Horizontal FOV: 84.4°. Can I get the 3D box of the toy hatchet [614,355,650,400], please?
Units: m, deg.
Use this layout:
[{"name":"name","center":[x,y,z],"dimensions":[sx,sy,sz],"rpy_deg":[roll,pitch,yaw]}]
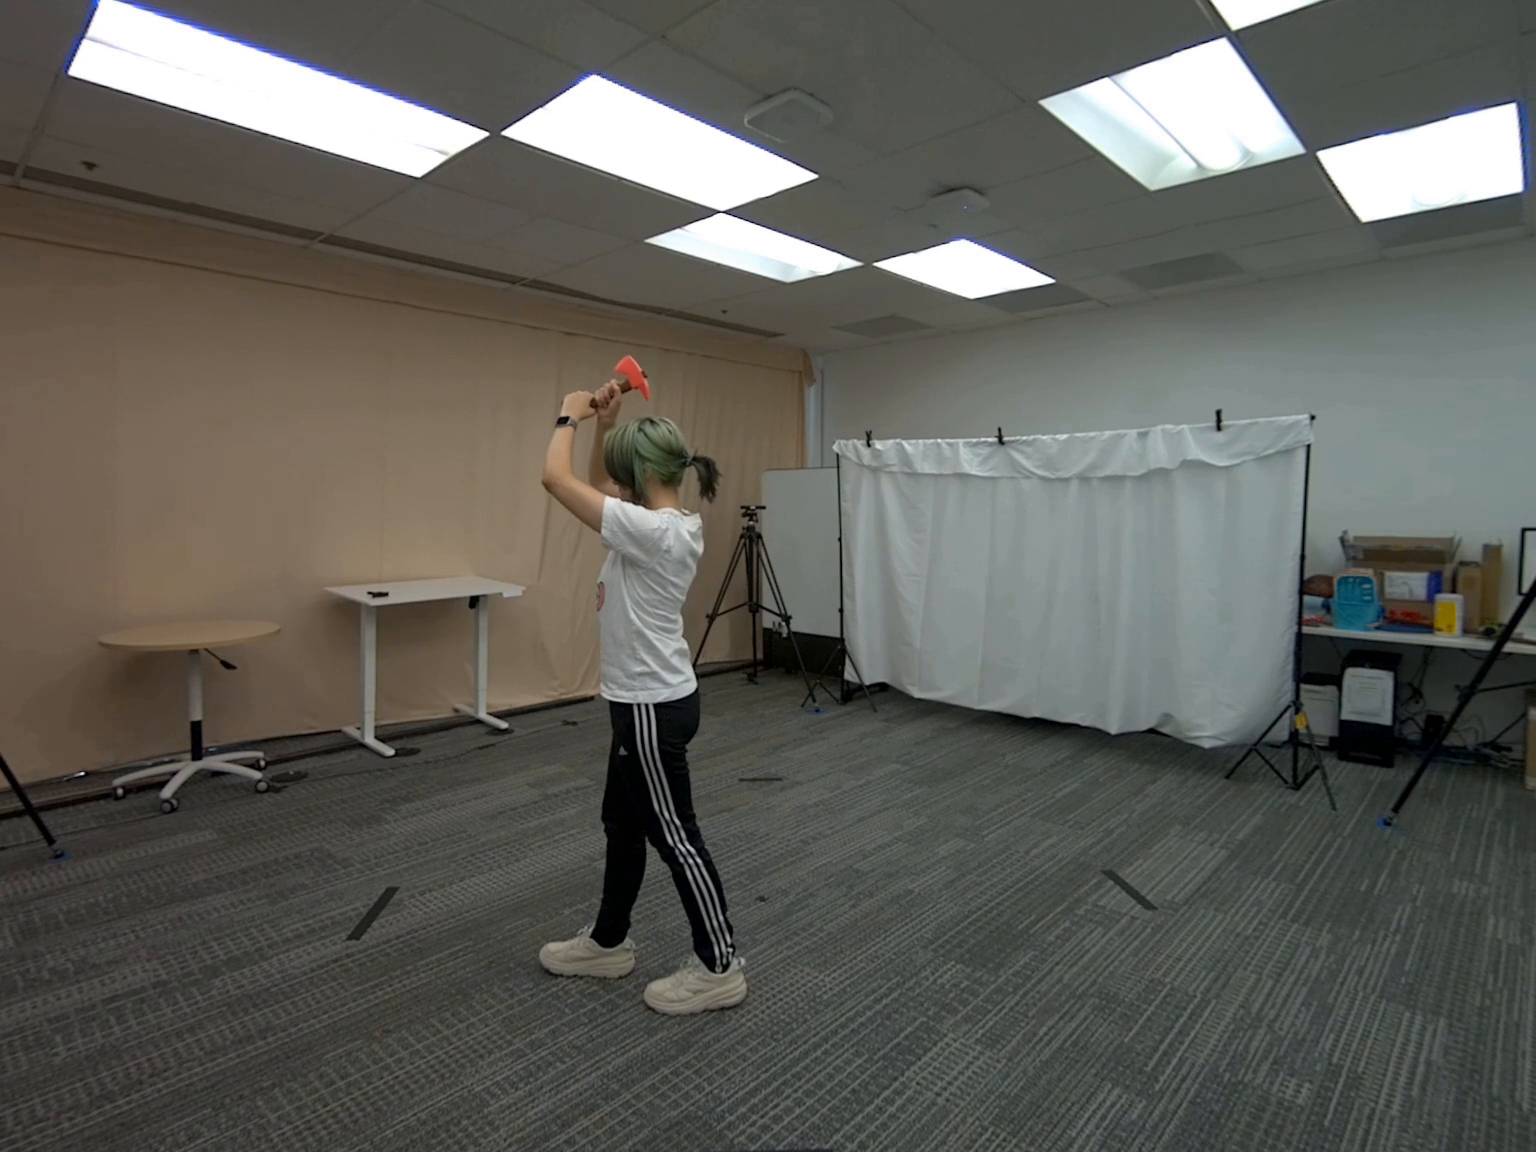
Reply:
[{"name":"toy hatchet","center":[-0.465,-0.543,2.343],"dimensions":[0.274,0.130,0.029],"rpy_deg":[-4,4,15]}]
